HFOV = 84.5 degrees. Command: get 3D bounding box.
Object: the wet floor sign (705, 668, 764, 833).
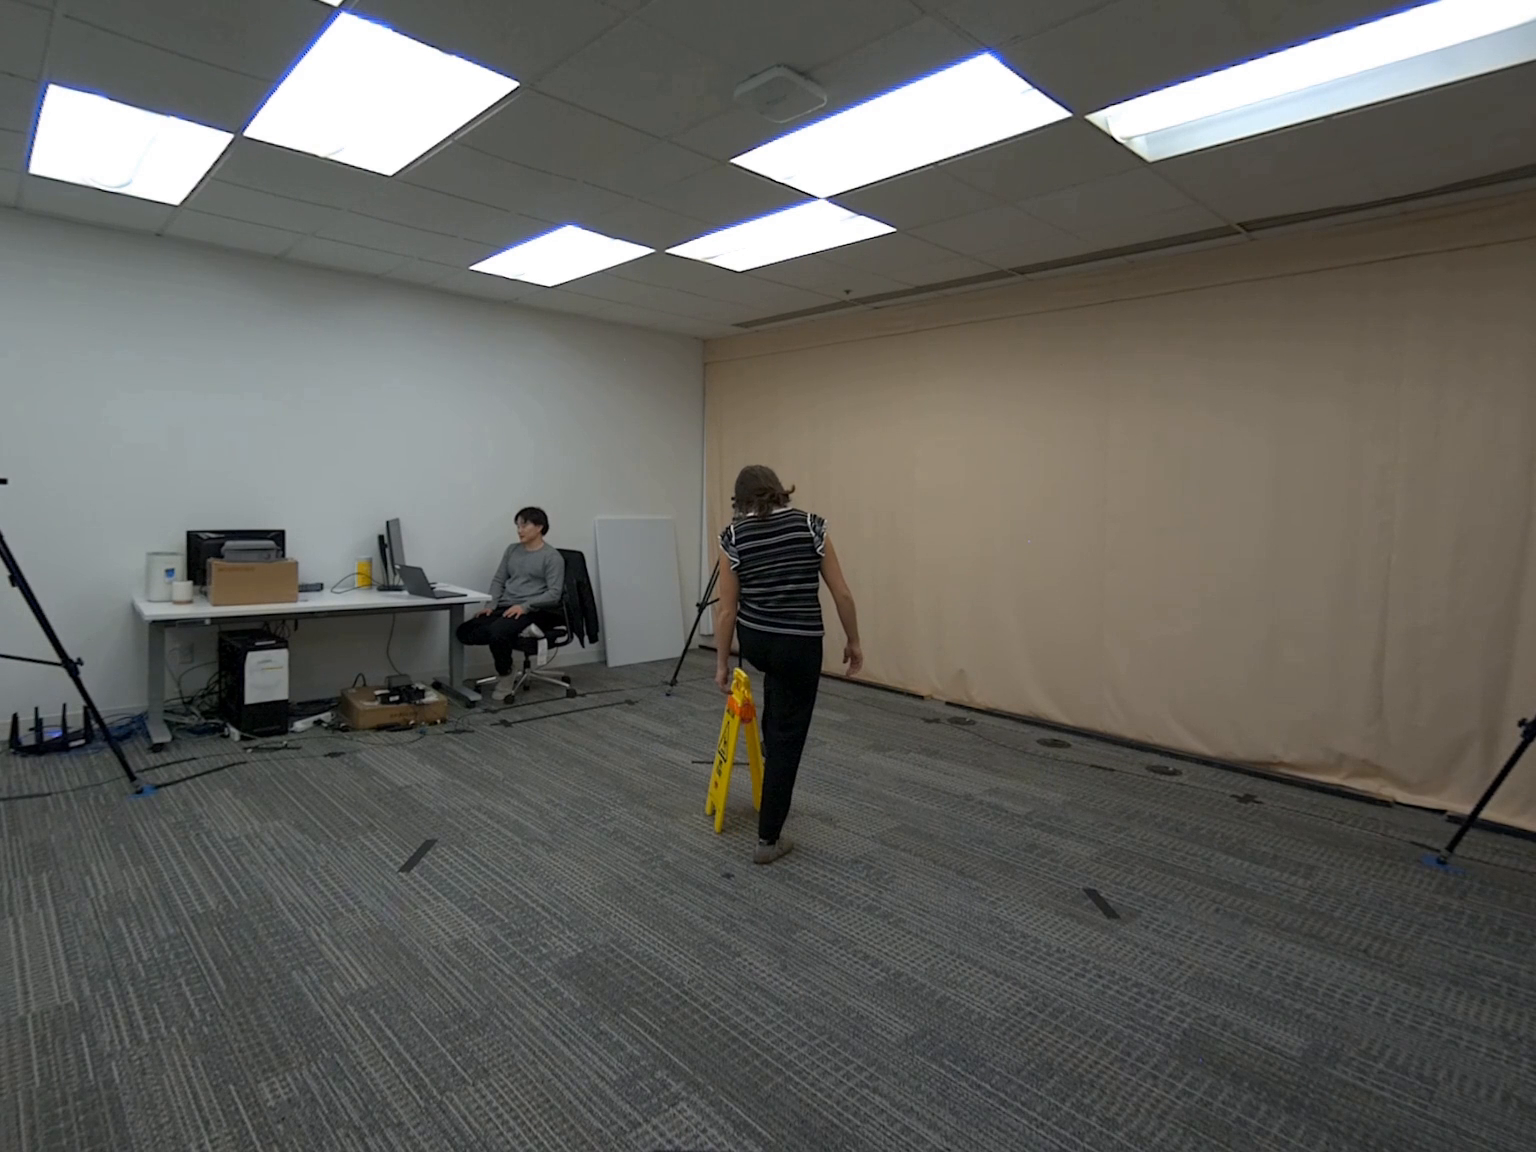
[{"bbox_3d":[-0.128,0.735,3.636,0.287,0.644,0.285,-1,3,-12],"label":"wet floor sign"}]
